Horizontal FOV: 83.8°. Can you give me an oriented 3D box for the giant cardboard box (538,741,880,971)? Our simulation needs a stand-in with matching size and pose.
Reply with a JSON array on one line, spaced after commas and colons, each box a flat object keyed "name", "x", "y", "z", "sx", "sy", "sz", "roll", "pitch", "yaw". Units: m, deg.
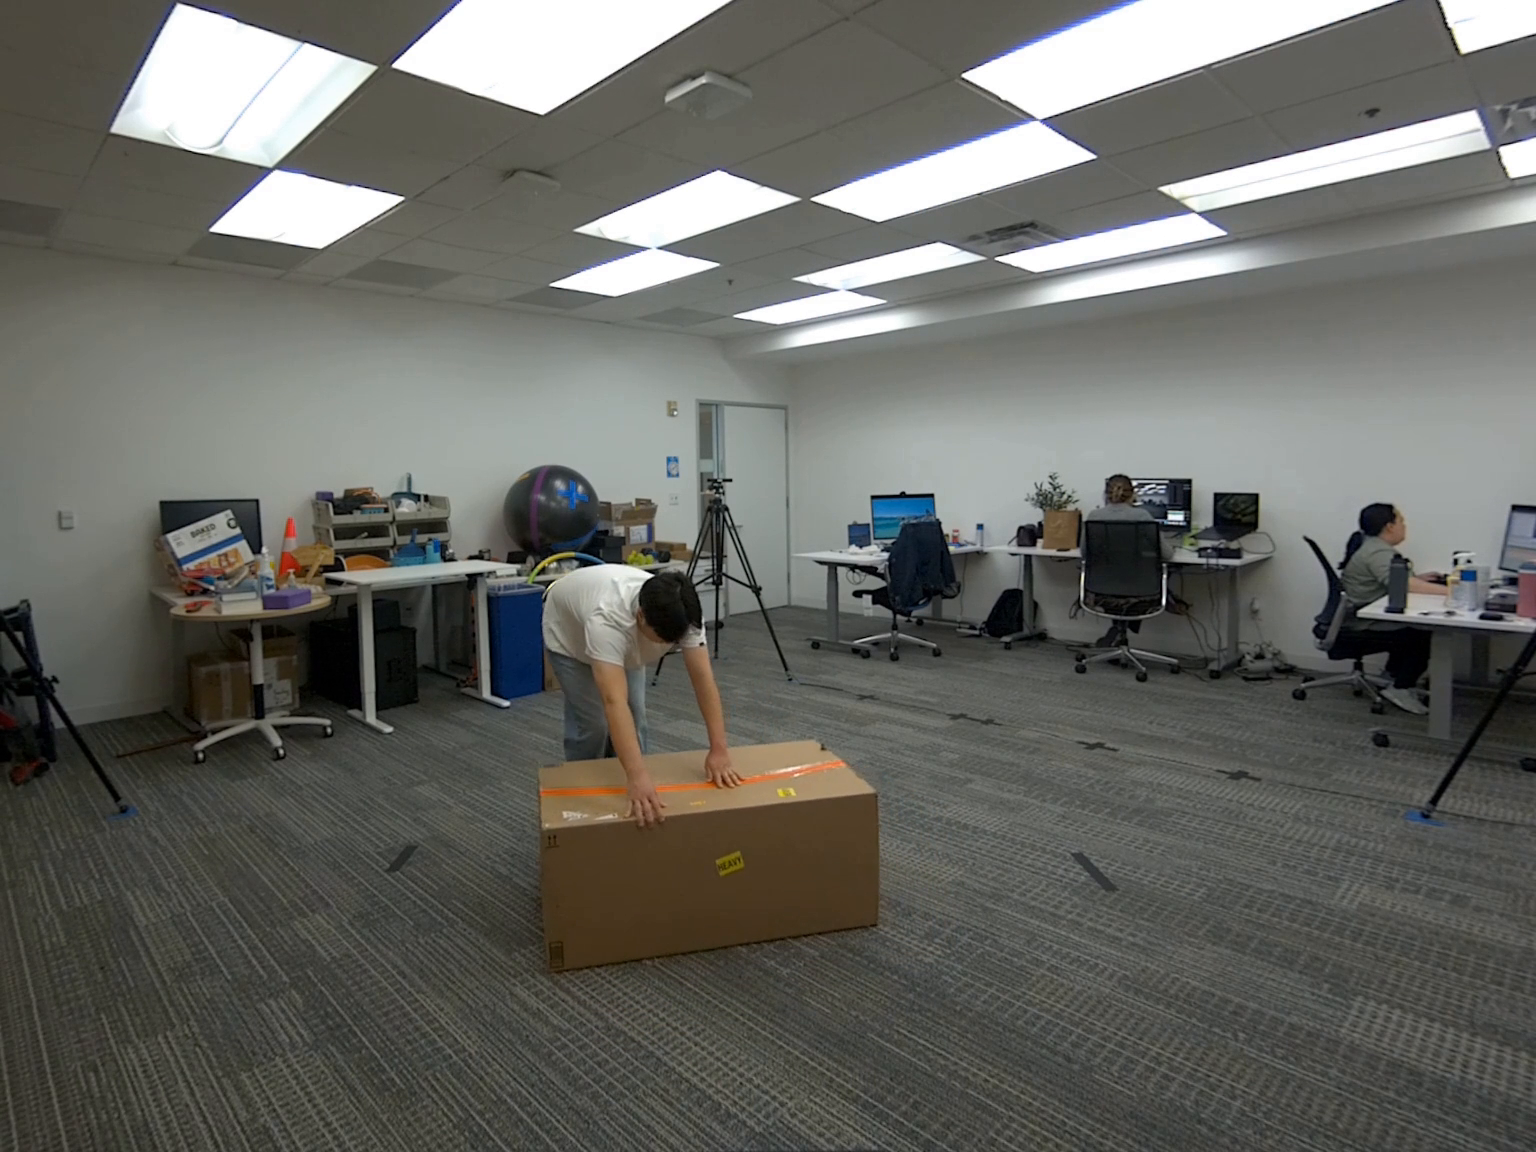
[{"name": "giant cardboard box", "x": -0.225, "y": 0.868, "z": 2.815, "sx": 1.013, "sy": 0.424, "sz": 0.588, "roll": -3, "pitch": 6, "yaw": -14}]
